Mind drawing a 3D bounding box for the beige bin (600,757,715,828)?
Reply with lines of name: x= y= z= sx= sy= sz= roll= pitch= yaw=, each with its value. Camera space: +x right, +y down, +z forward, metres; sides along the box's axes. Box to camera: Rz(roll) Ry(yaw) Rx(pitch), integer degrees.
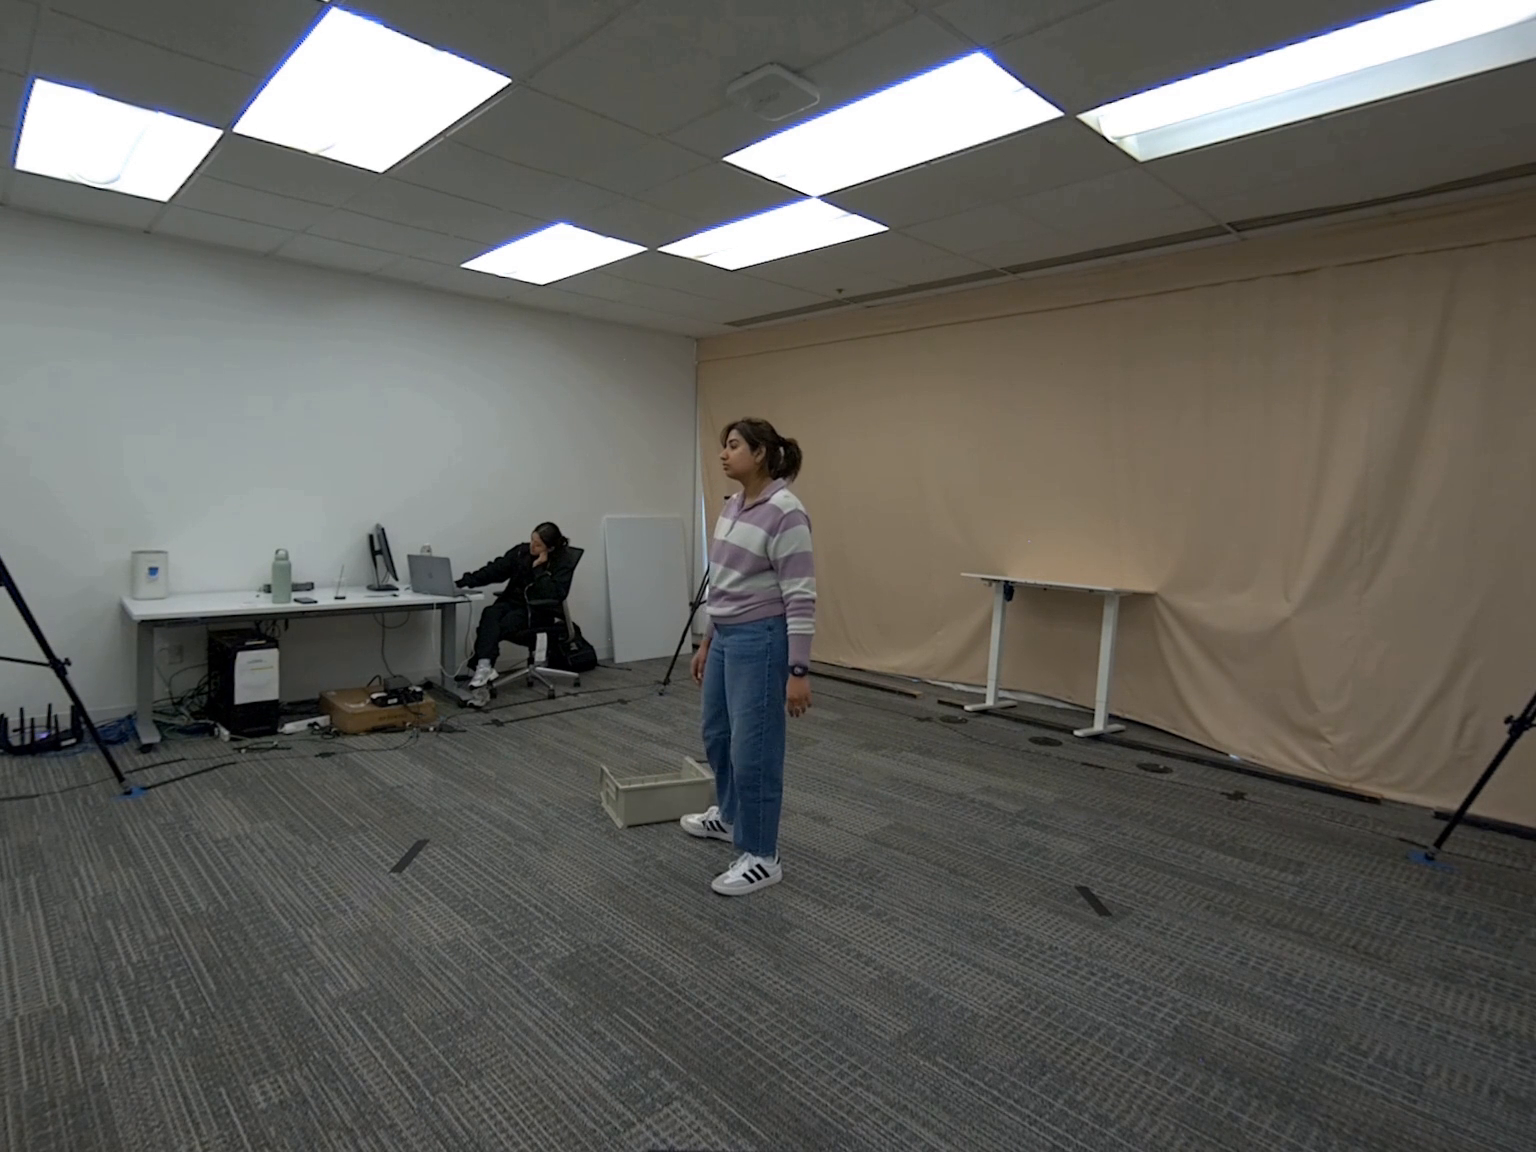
beige bin: x=-0.513 y=0.951 z=3.747 sx=0.415 sy=0.188 sz=0.385 roll=-1 pitch=6 yaw=-24
